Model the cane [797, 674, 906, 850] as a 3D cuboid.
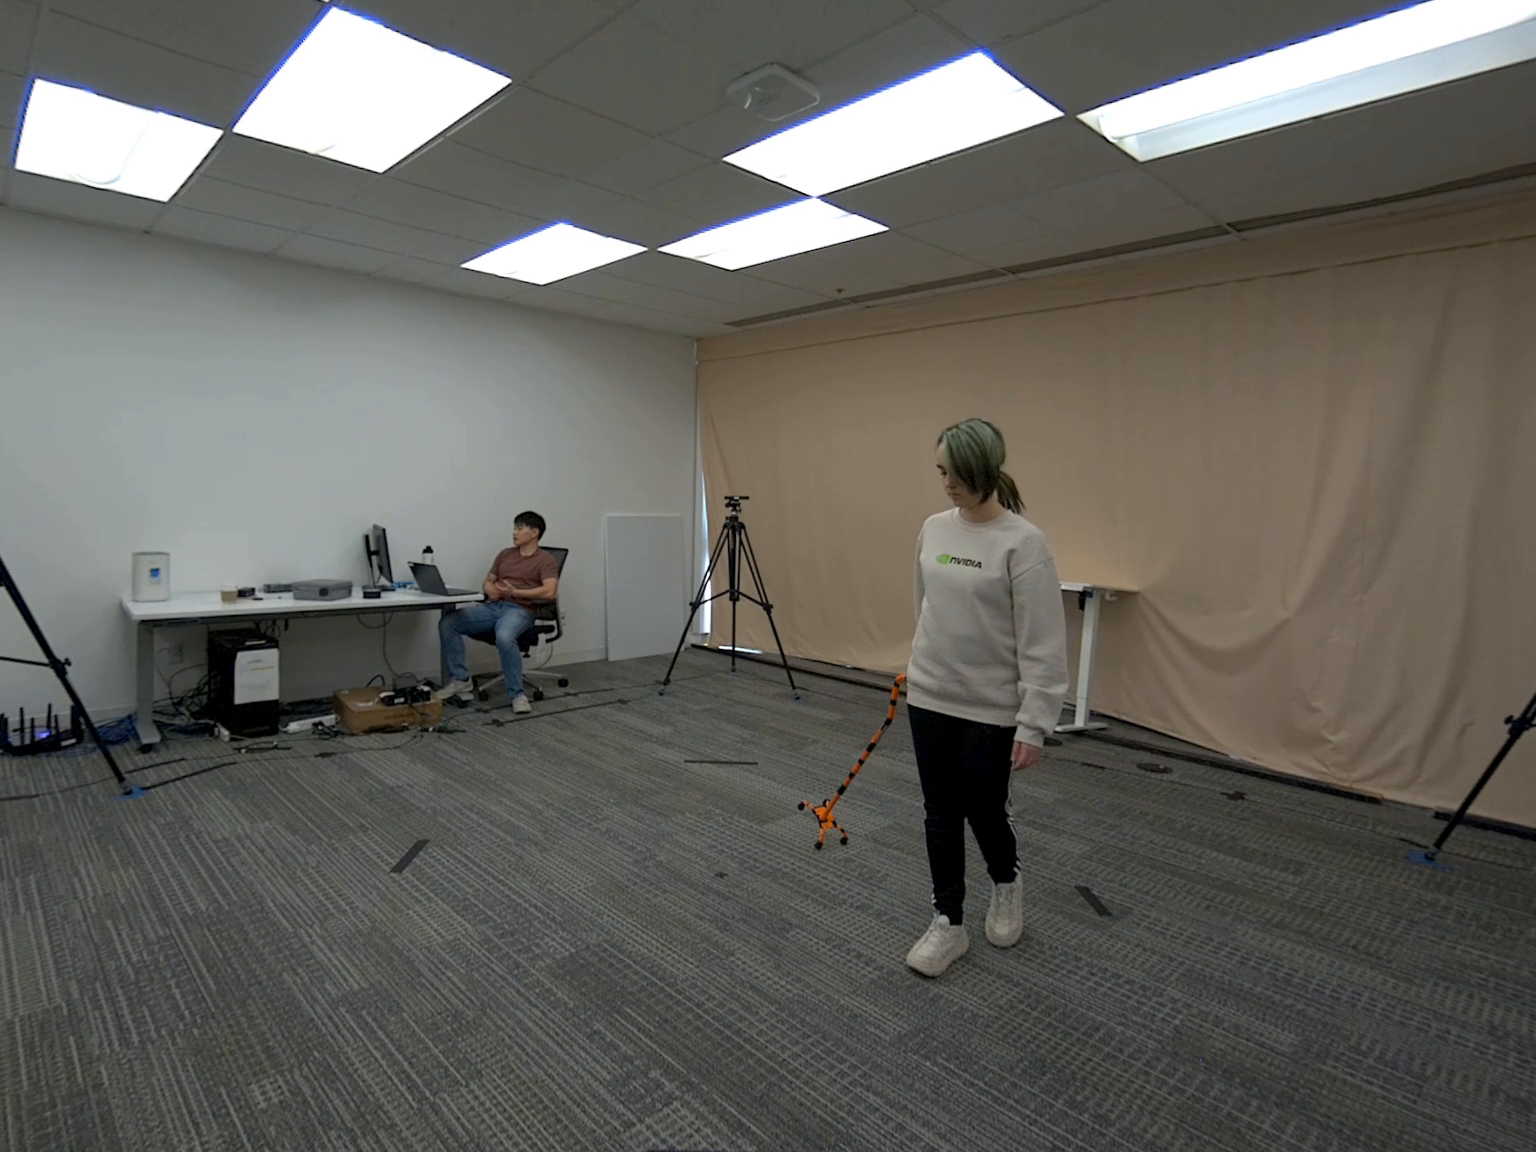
[{"bbox_3d":[0.359,0.693,3.180,0.148,0.899,0.213,1,43,-29],"label":"cane"}]
